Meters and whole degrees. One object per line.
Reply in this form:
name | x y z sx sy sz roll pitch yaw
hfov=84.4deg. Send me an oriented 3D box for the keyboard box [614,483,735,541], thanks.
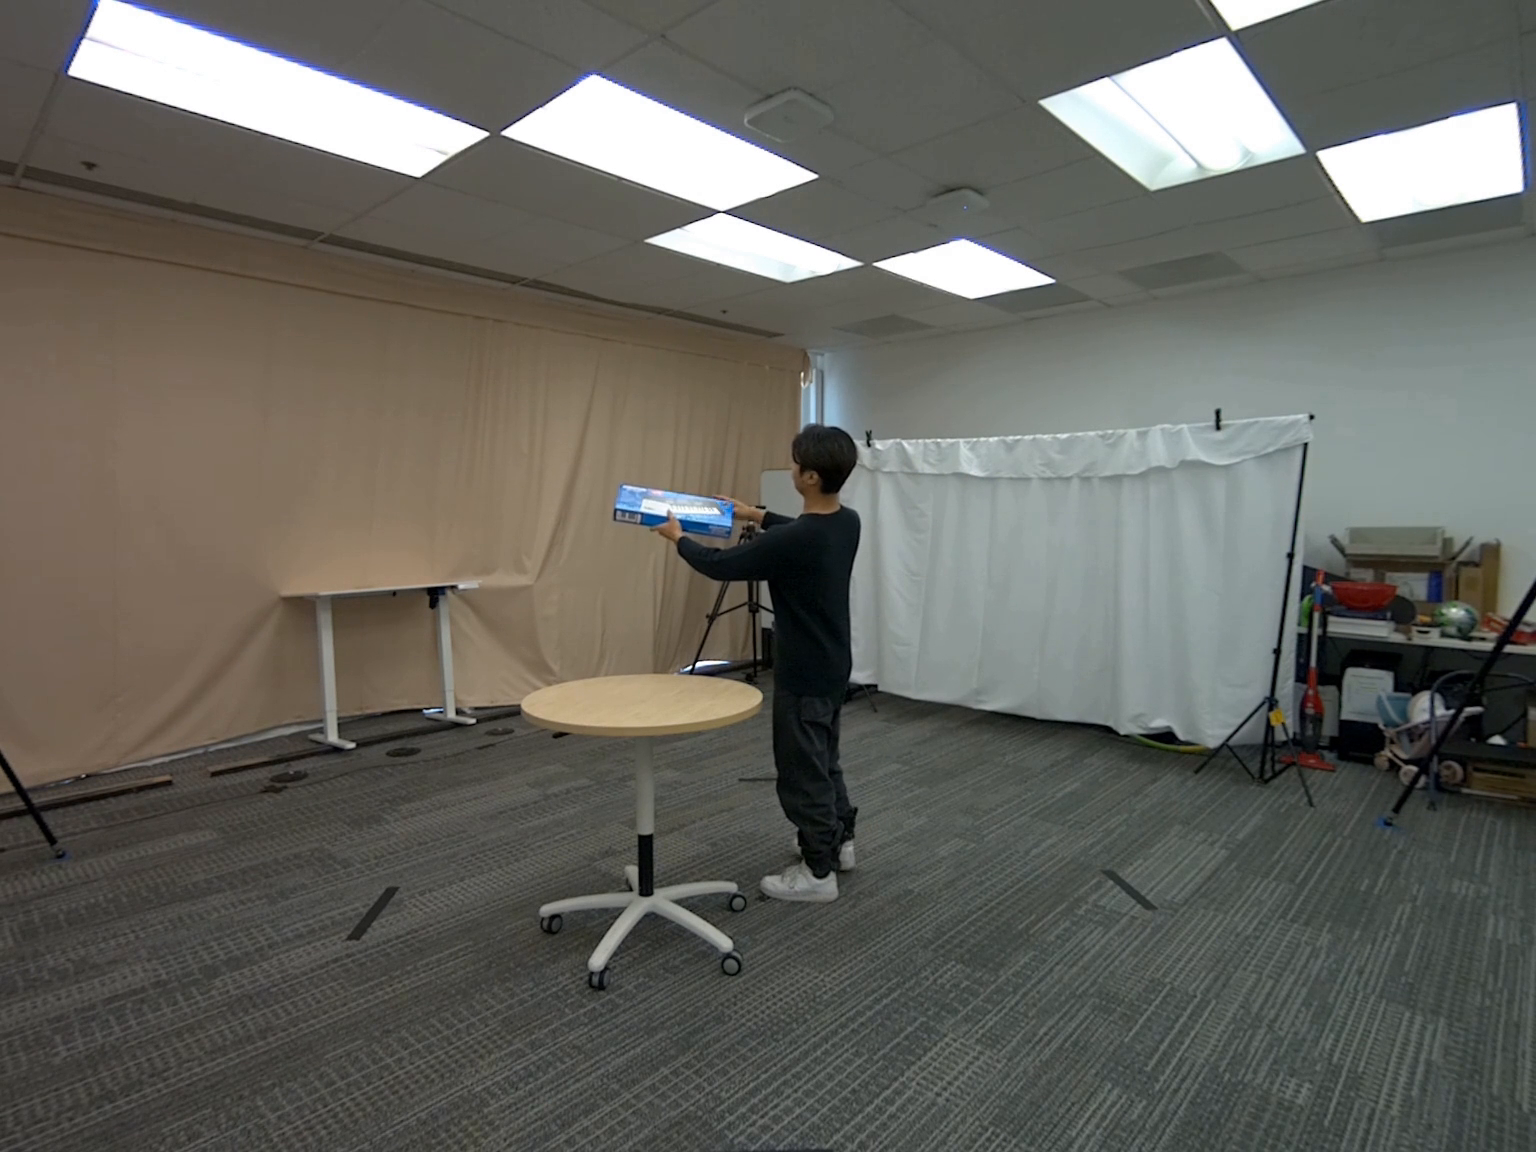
keyboard box | -0.344 -0.243 3.159 0.435 0.058 0.179 9 36 -4
